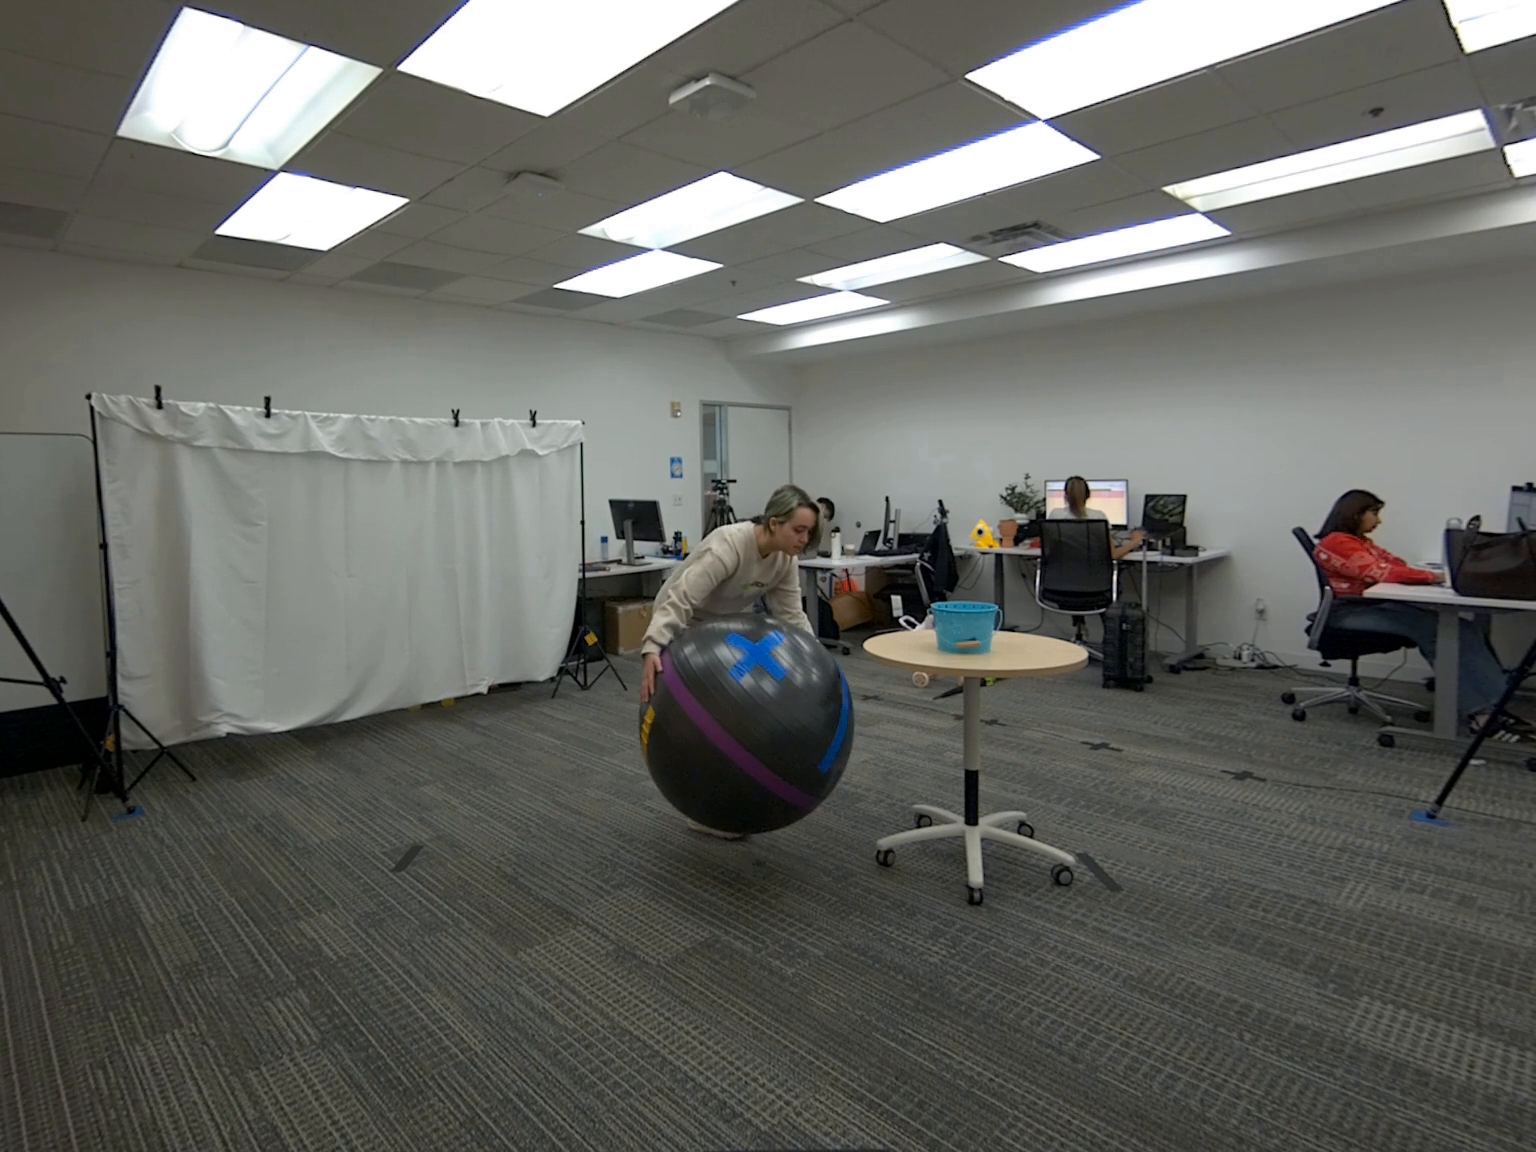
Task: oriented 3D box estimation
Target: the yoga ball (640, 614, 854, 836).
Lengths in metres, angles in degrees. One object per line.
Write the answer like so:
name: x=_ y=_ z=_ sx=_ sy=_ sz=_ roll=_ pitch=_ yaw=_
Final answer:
yoga ball: x=-0.086 y=0.517 z=3.010 sx=0.757 sy=0.755 sz=0.762 roll=-1 pitch=5 yaw=-2
